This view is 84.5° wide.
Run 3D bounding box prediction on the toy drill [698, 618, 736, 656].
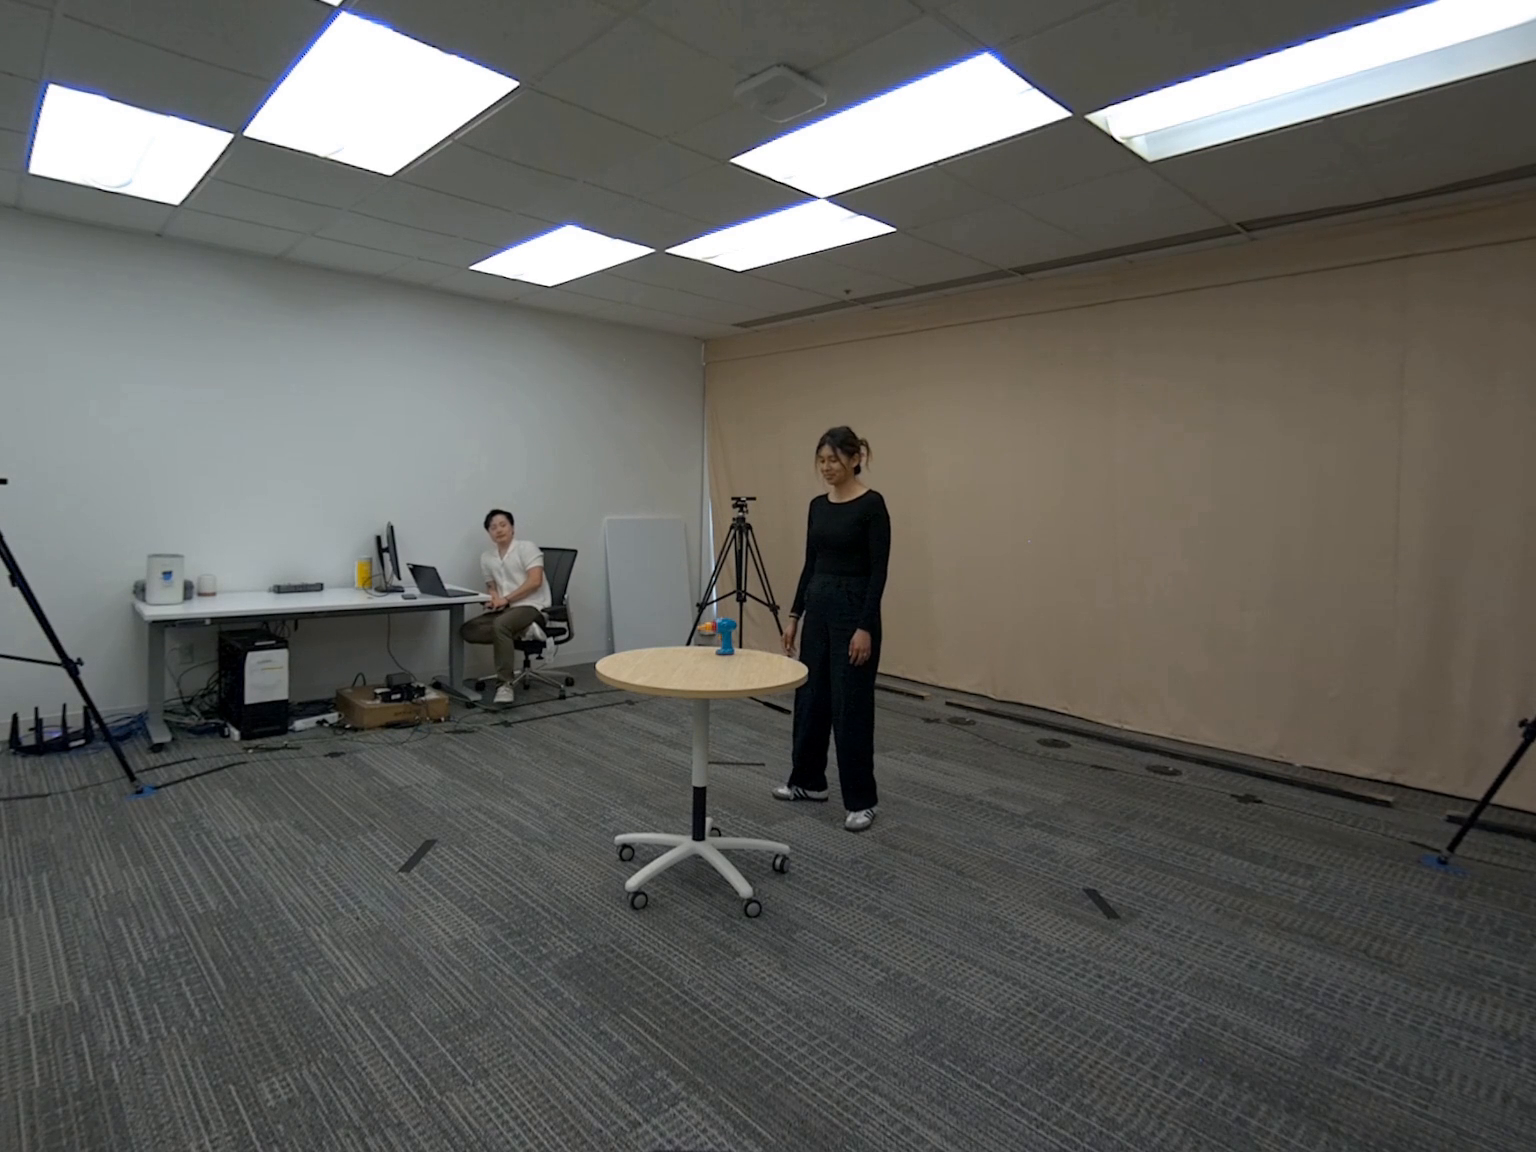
[{"bbox_3d":[-0.199,0.234,3.251,0.167,0.146,0.062,0,3,-24],"label":"toy drill"}]
